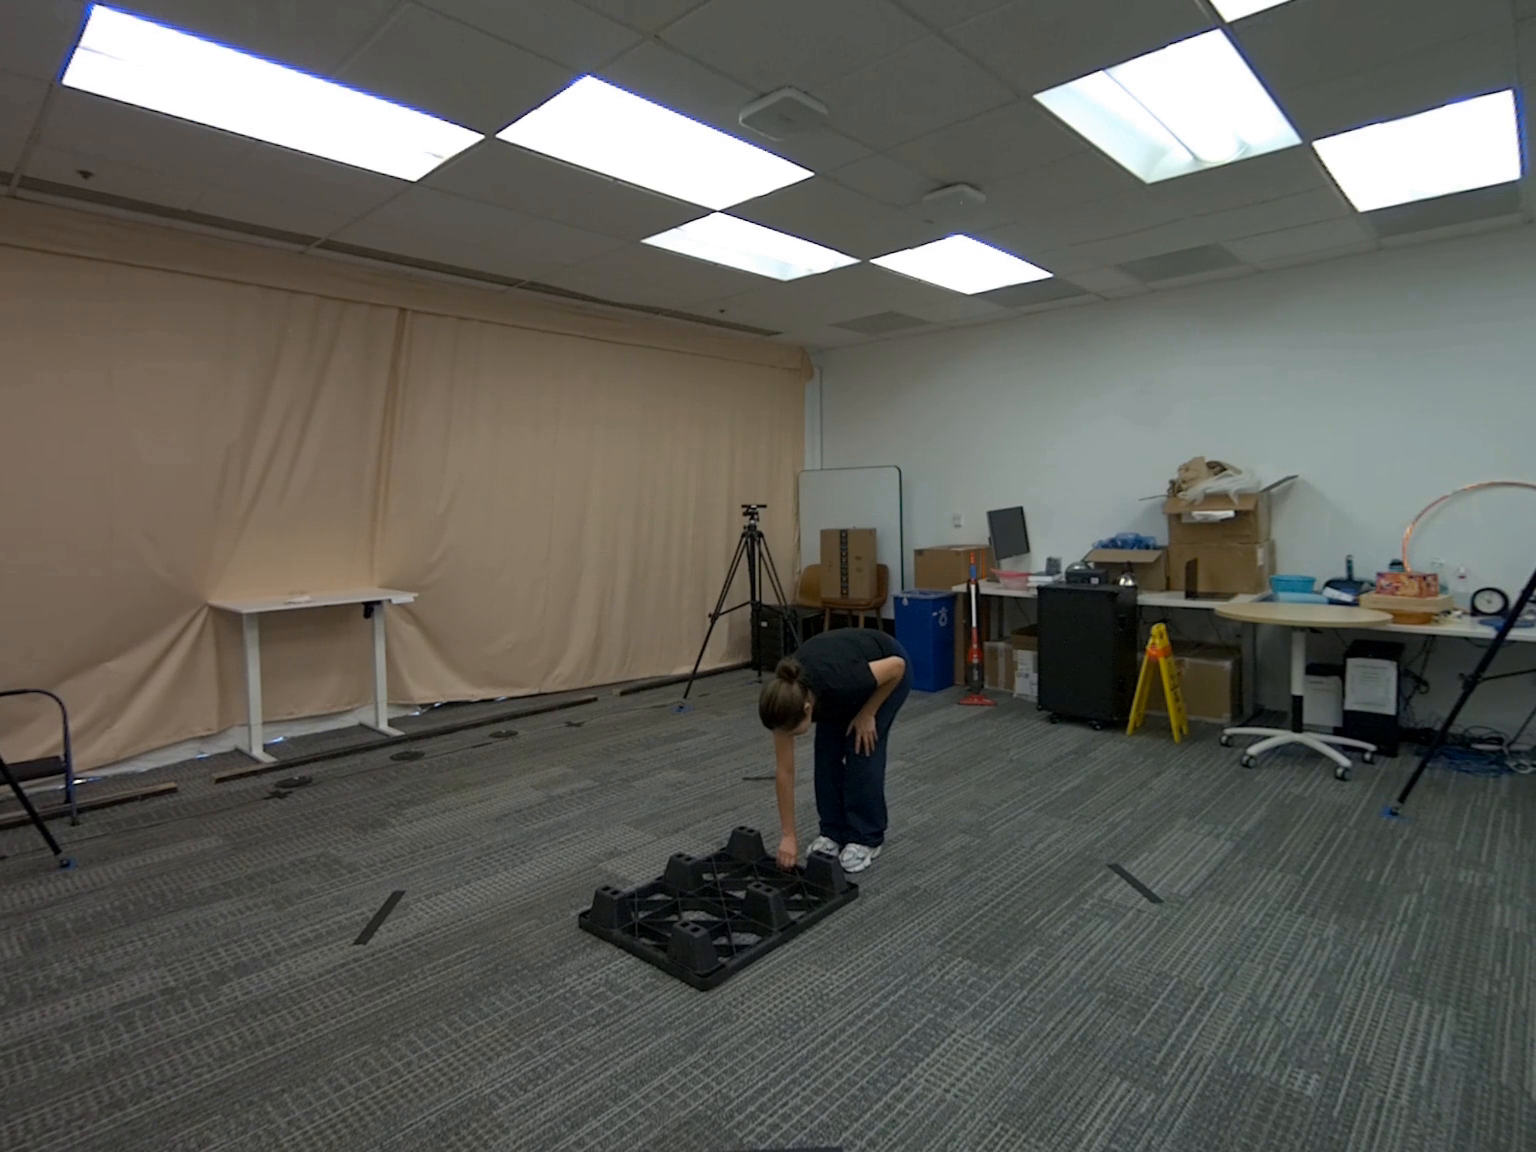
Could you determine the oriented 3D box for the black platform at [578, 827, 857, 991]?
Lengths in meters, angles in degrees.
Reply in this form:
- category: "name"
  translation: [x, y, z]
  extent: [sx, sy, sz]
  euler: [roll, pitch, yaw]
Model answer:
- category: "black platform"
  translation: [-0.140, 1.084, 2.887]
  extent: [0.625, 0.143, 0.782]
  euler: [3, 7, 41]
